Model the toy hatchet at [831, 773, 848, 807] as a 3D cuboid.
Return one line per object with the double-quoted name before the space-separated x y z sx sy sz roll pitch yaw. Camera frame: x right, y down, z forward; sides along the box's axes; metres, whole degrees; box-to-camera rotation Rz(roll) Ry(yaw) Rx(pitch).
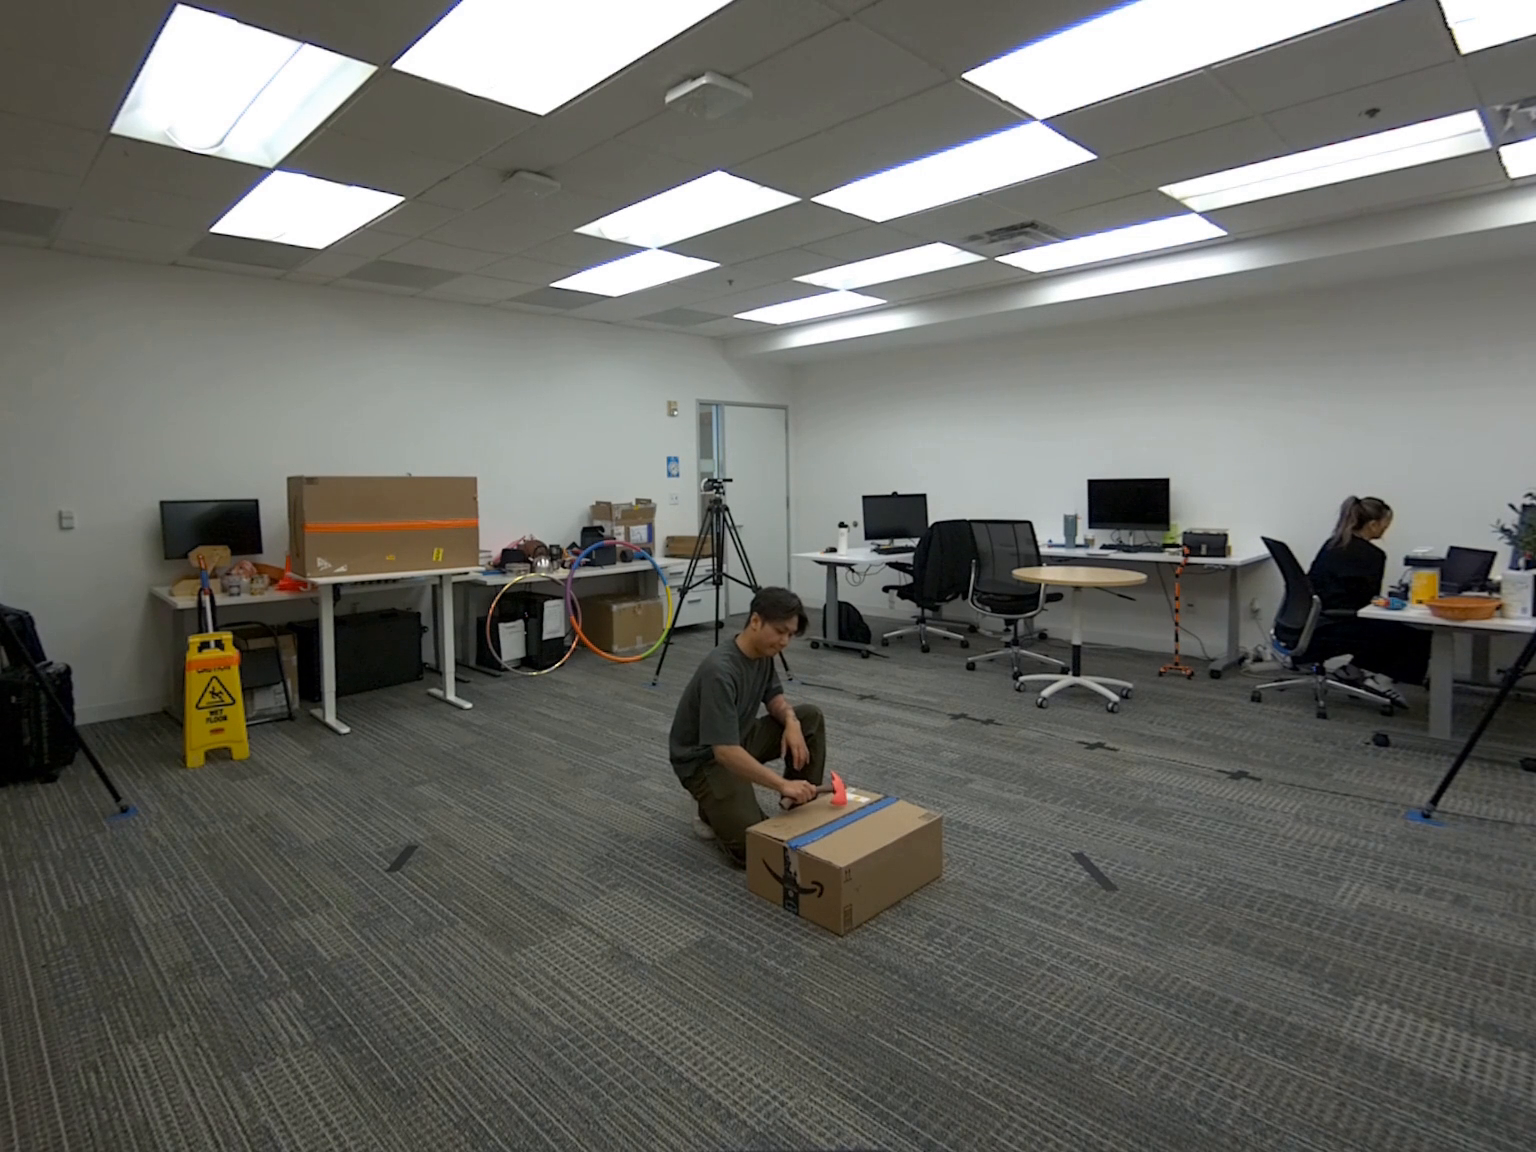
"toy hatchet" 0.170 0.794 3.035 0.266 0.029 0.135 -22 56 -31
